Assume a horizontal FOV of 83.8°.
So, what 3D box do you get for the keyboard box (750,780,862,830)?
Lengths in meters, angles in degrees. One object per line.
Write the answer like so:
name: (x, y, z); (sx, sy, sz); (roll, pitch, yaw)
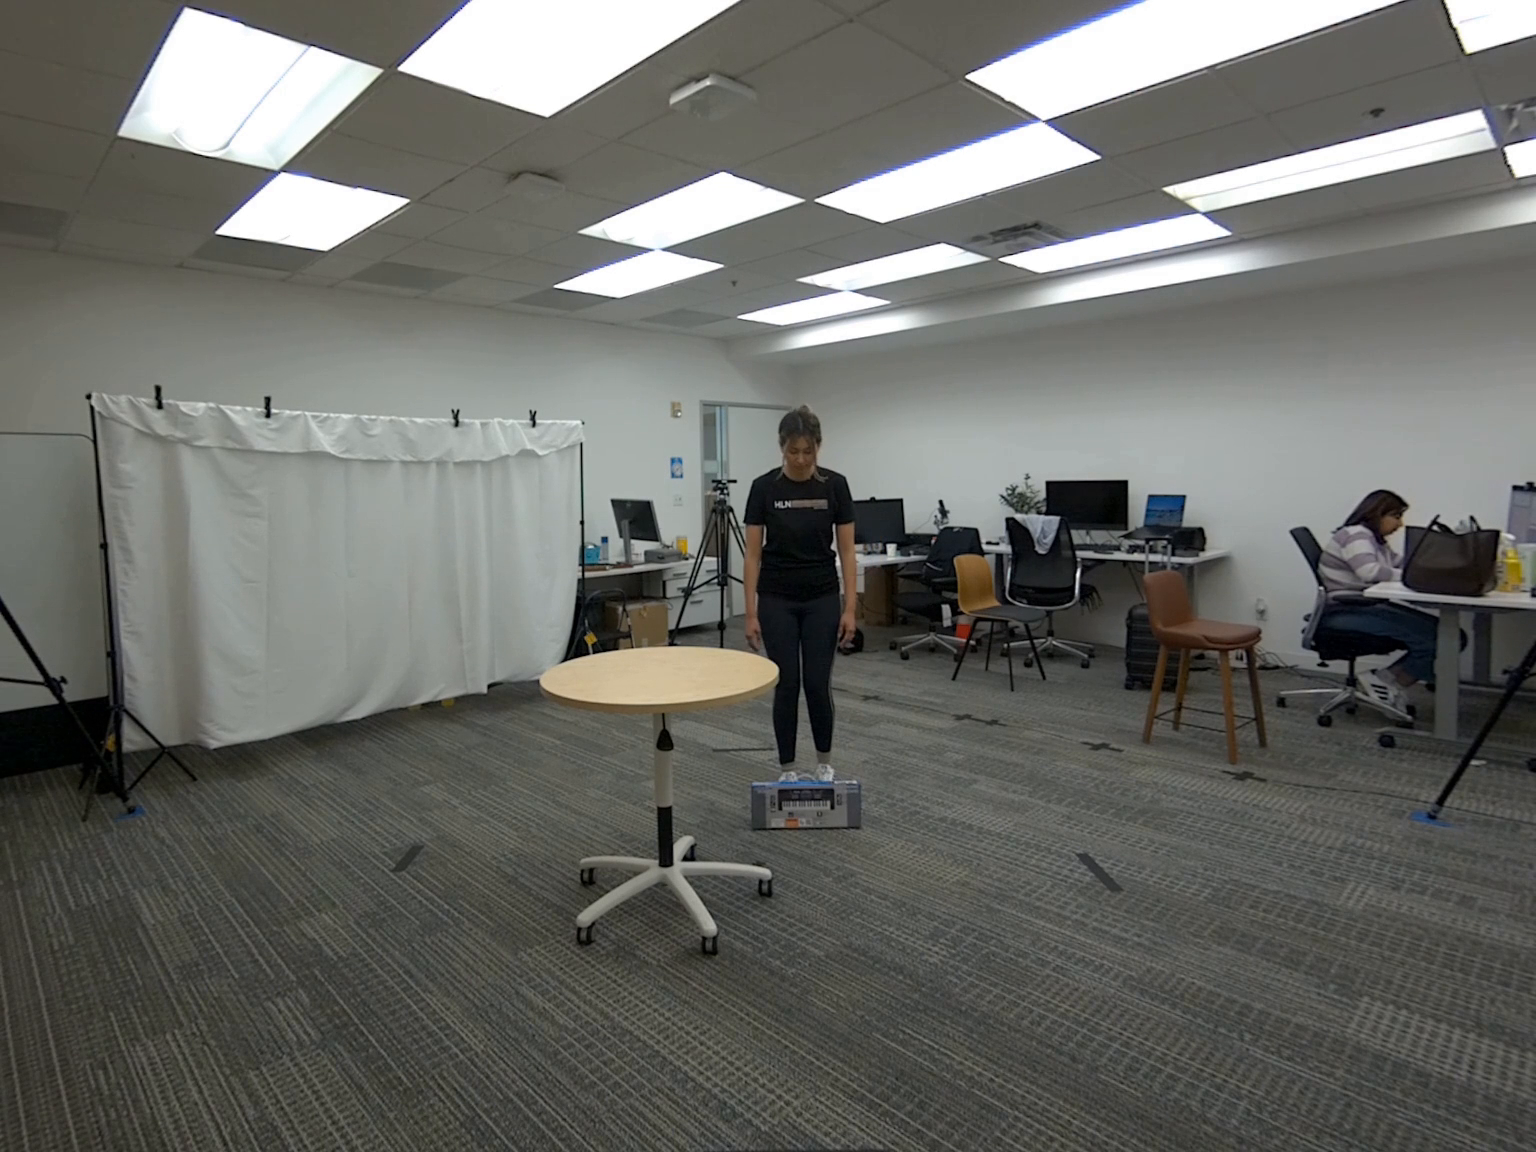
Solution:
keyboard box: (0.155, 0.921, 3.434); (0.437, 0.176, 0.059); (-1, -2, 0)
